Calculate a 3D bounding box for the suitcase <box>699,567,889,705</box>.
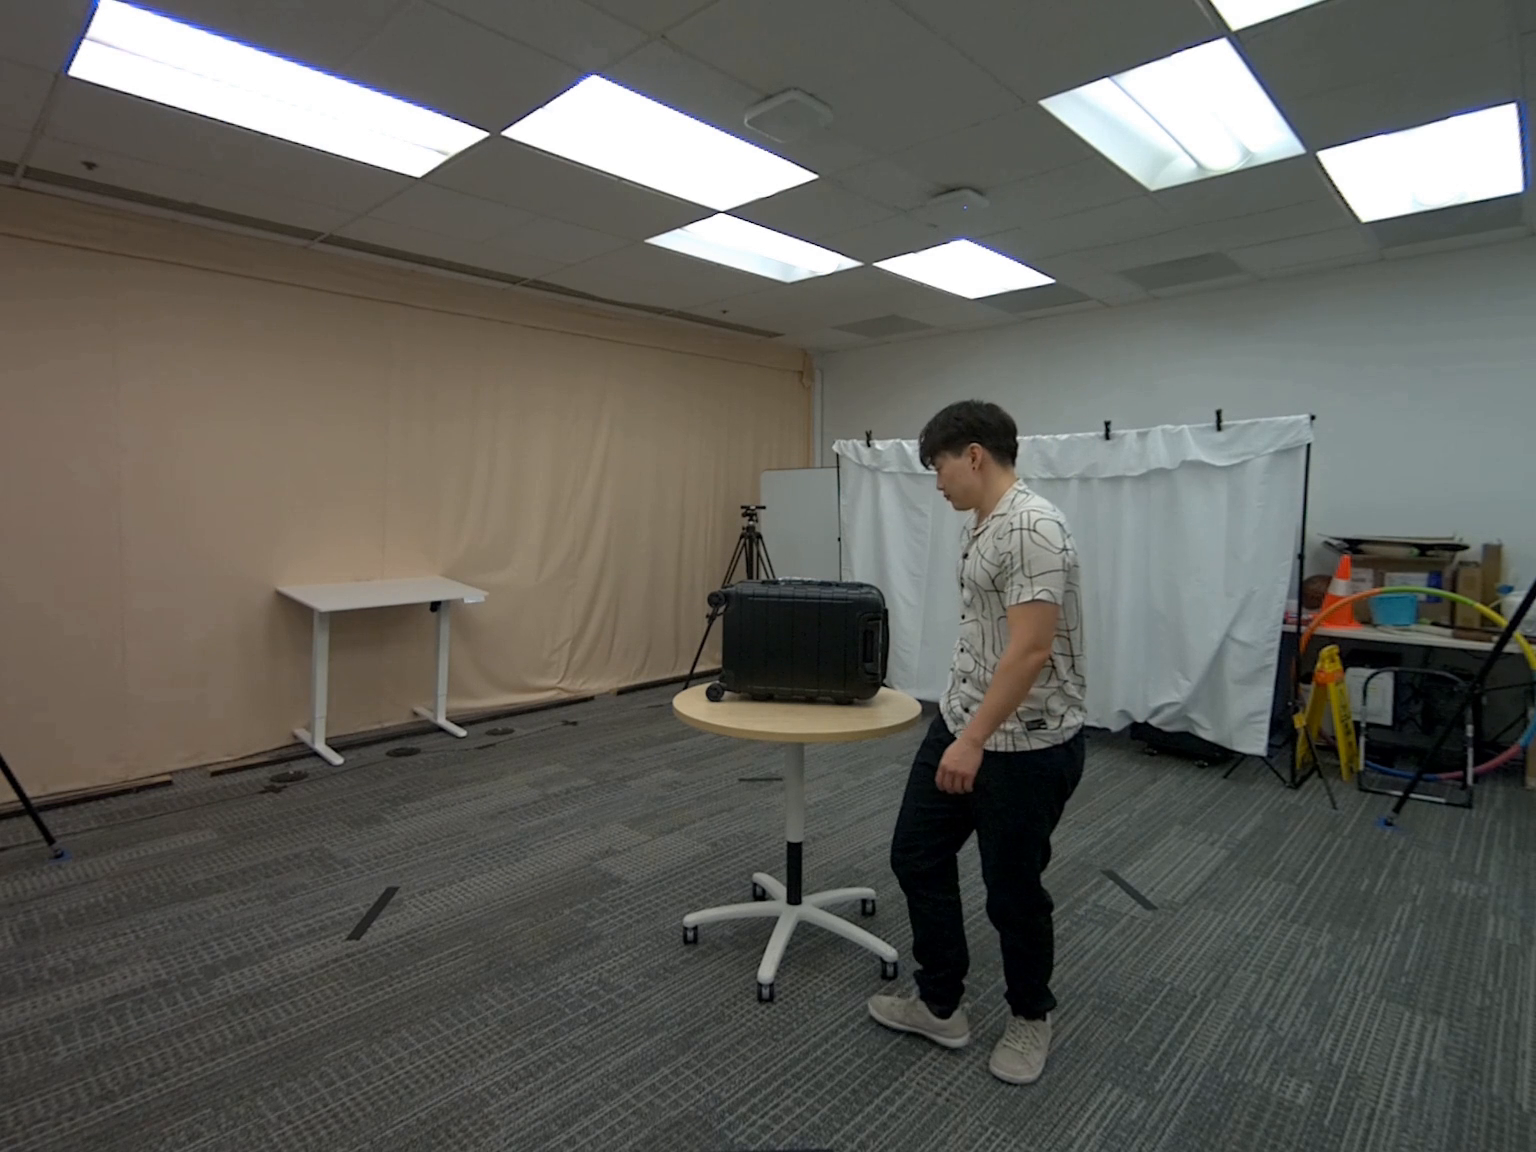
[{"bbox_3d":[0.104,0.196,2.666,0.556,0.375,0.245,1,2,11],"label":"suitcase"}]
